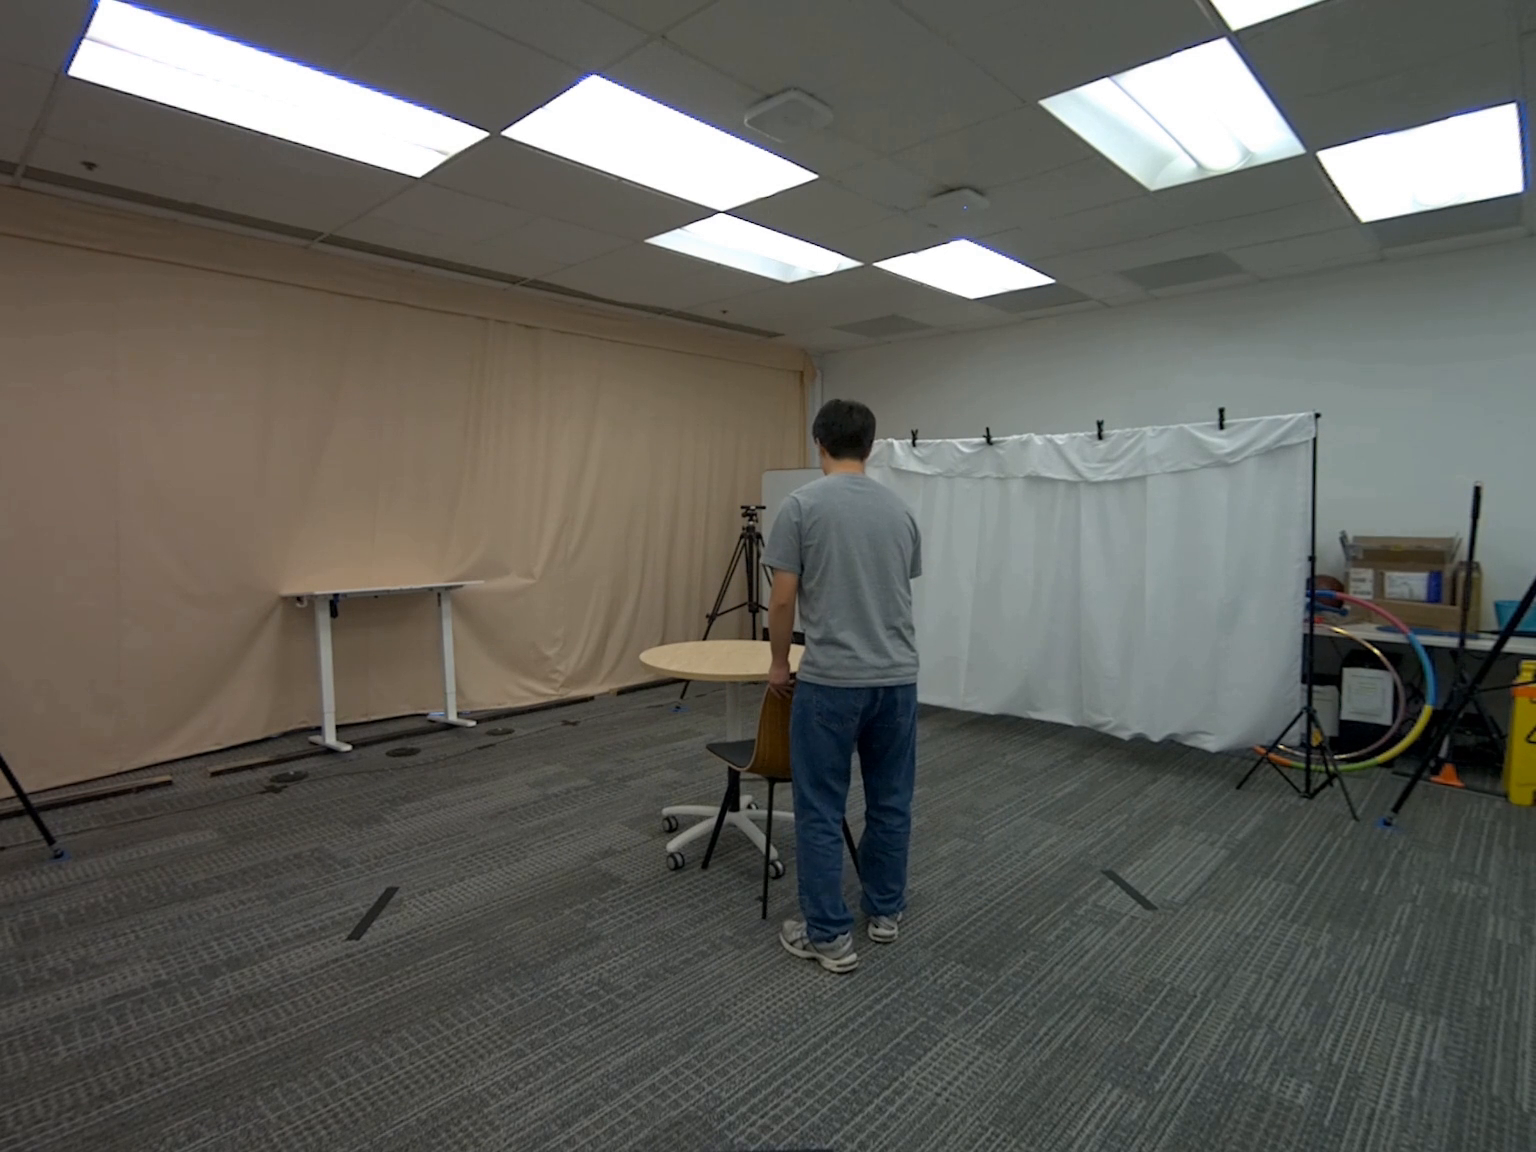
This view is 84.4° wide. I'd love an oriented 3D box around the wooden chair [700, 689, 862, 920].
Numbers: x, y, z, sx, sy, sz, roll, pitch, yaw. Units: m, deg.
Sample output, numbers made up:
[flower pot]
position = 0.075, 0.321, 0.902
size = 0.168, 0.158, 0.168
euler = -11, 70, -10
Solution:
[wooden chair]
position = 0.053, 0.703, 3.104
size = 0.465, 0.874, 0.539
euler = -2, 8, -30
